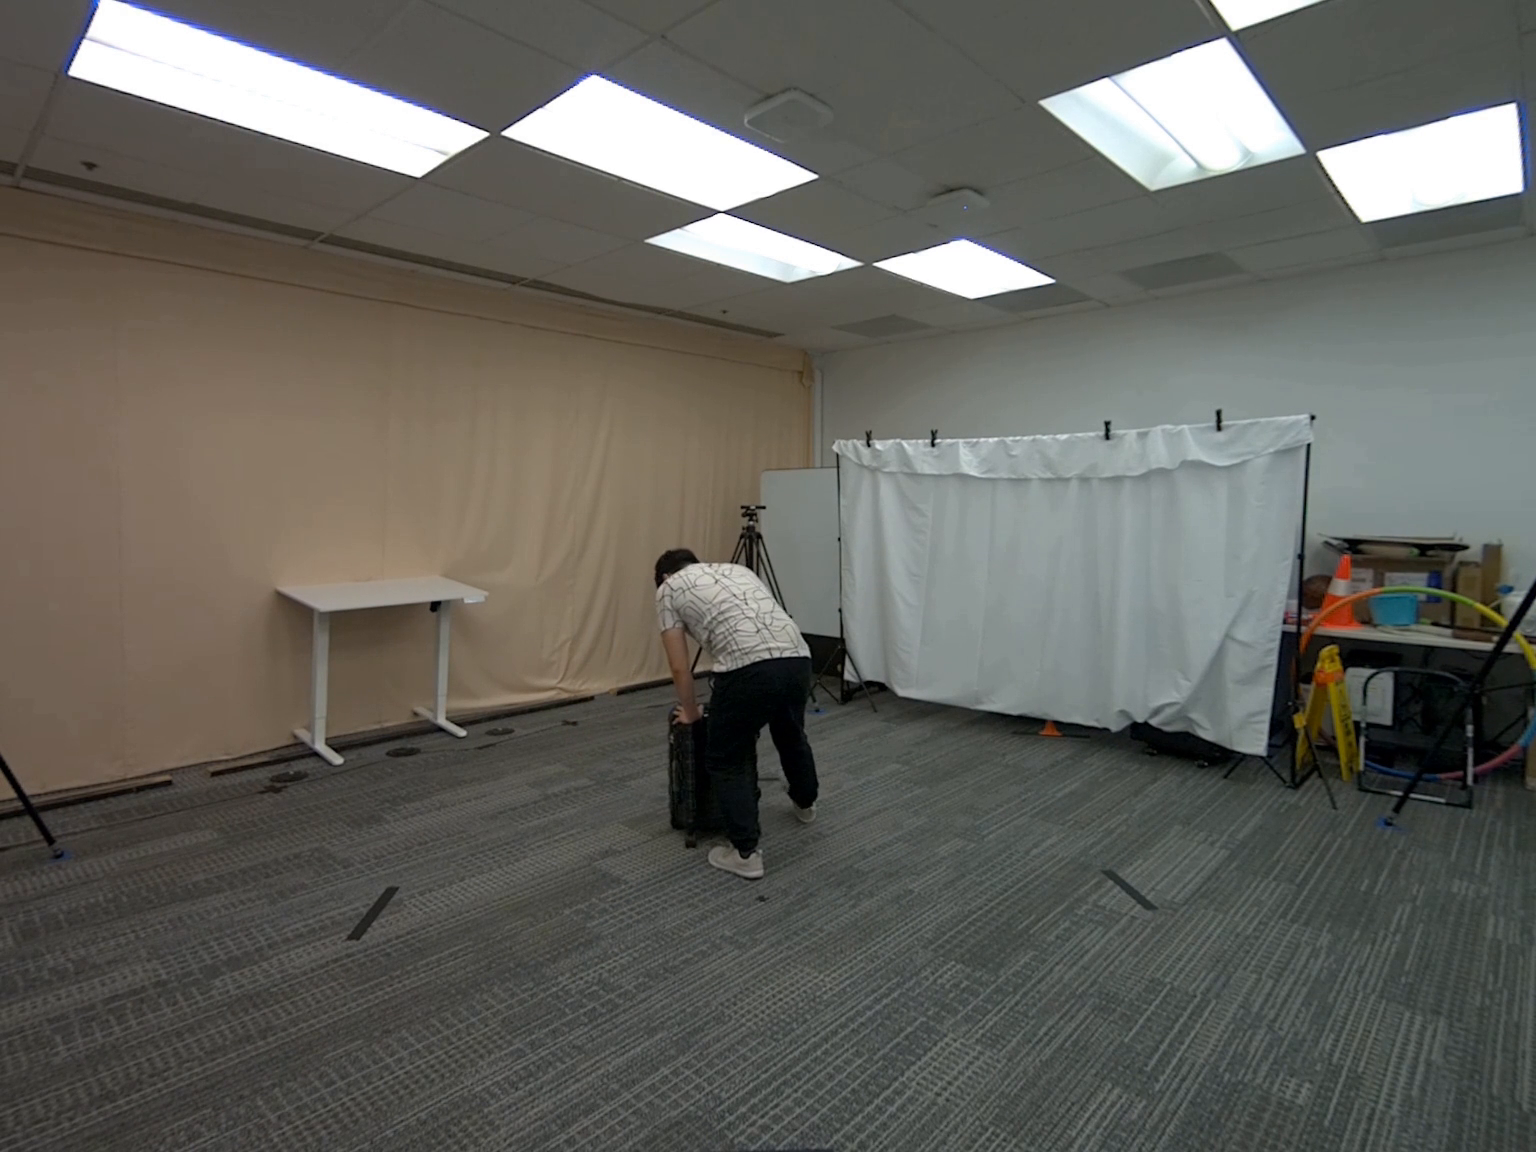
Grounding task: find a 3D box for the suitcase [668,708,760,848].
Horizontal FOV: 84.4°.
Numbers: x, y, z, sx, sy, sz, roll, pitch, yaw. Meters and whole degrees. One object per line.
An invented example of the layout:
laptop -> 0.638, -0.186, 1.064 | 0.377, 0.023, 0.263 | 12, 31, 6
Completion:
suitcase -> -0.242, 0.821, 3.613 | 0.367, 0.549, 0.254 | -2, 1, -22
